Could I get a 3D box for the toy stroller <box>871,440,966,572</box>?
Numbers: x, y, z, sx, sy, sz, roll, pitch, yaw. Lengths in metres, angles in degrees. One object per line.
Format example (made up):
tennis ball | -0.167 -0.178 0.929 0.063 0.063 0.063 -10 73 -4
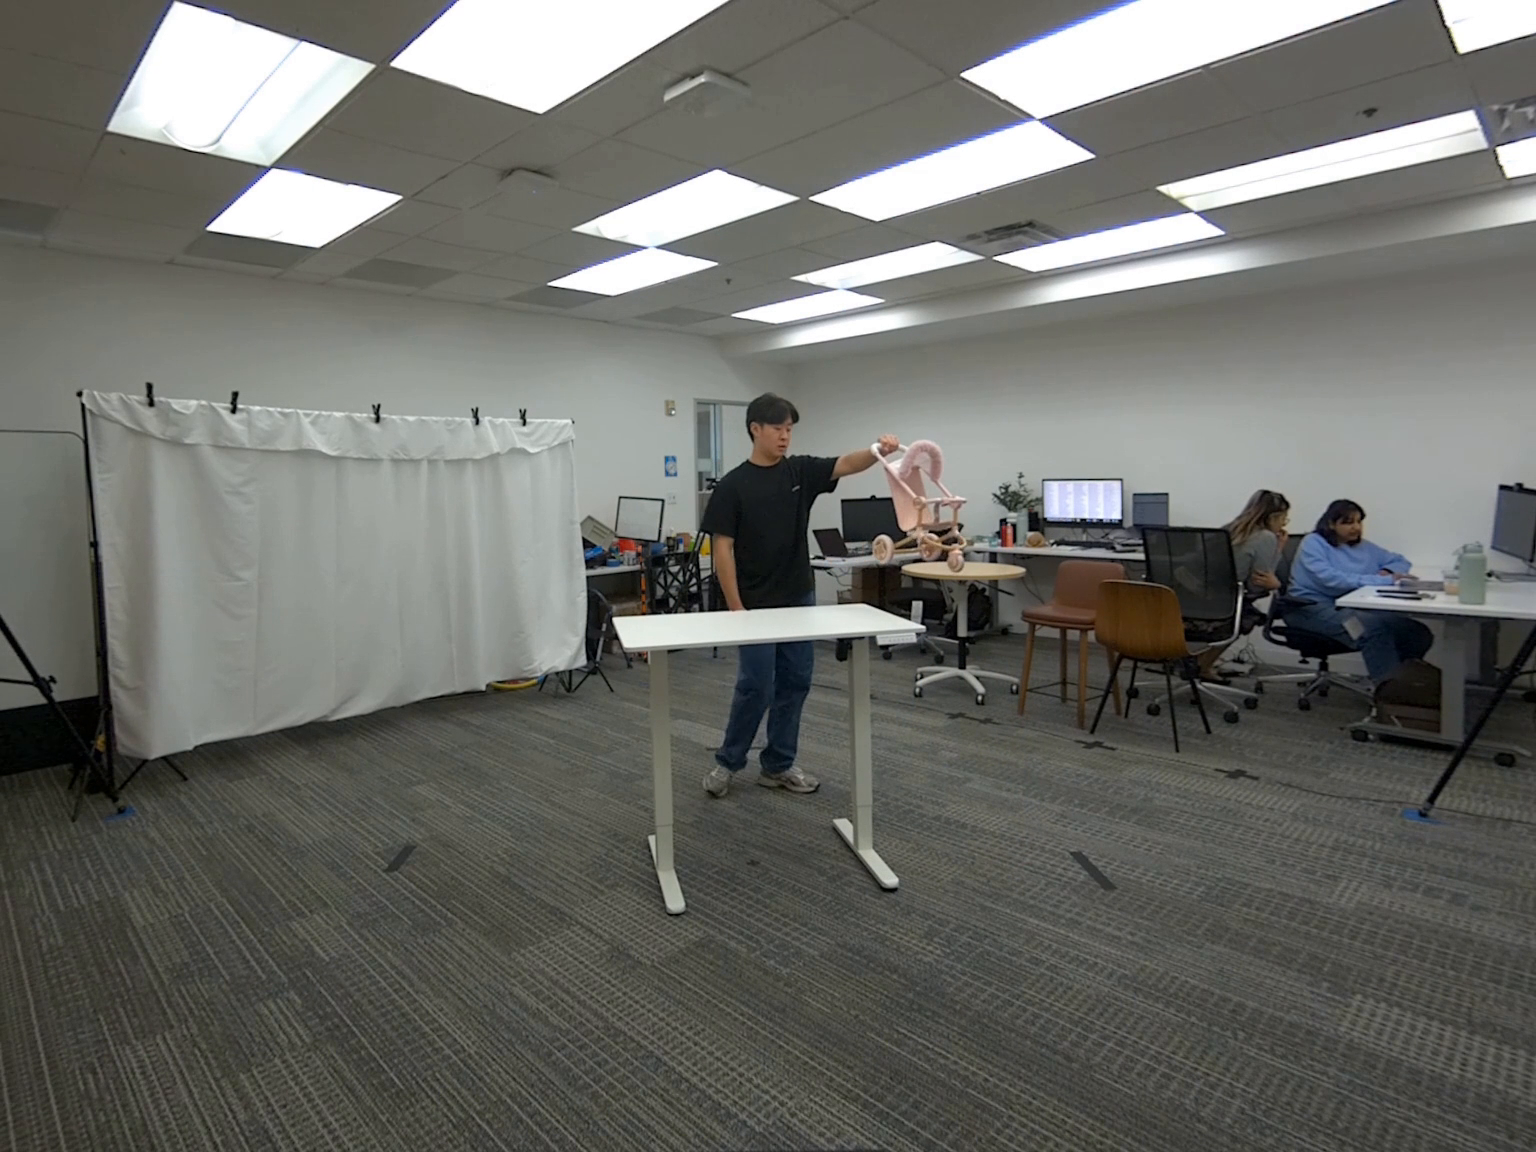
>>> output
toy stroller | 0.578 -0.267 3.213 0.274 0.538 0.348 -2 -5 -31
